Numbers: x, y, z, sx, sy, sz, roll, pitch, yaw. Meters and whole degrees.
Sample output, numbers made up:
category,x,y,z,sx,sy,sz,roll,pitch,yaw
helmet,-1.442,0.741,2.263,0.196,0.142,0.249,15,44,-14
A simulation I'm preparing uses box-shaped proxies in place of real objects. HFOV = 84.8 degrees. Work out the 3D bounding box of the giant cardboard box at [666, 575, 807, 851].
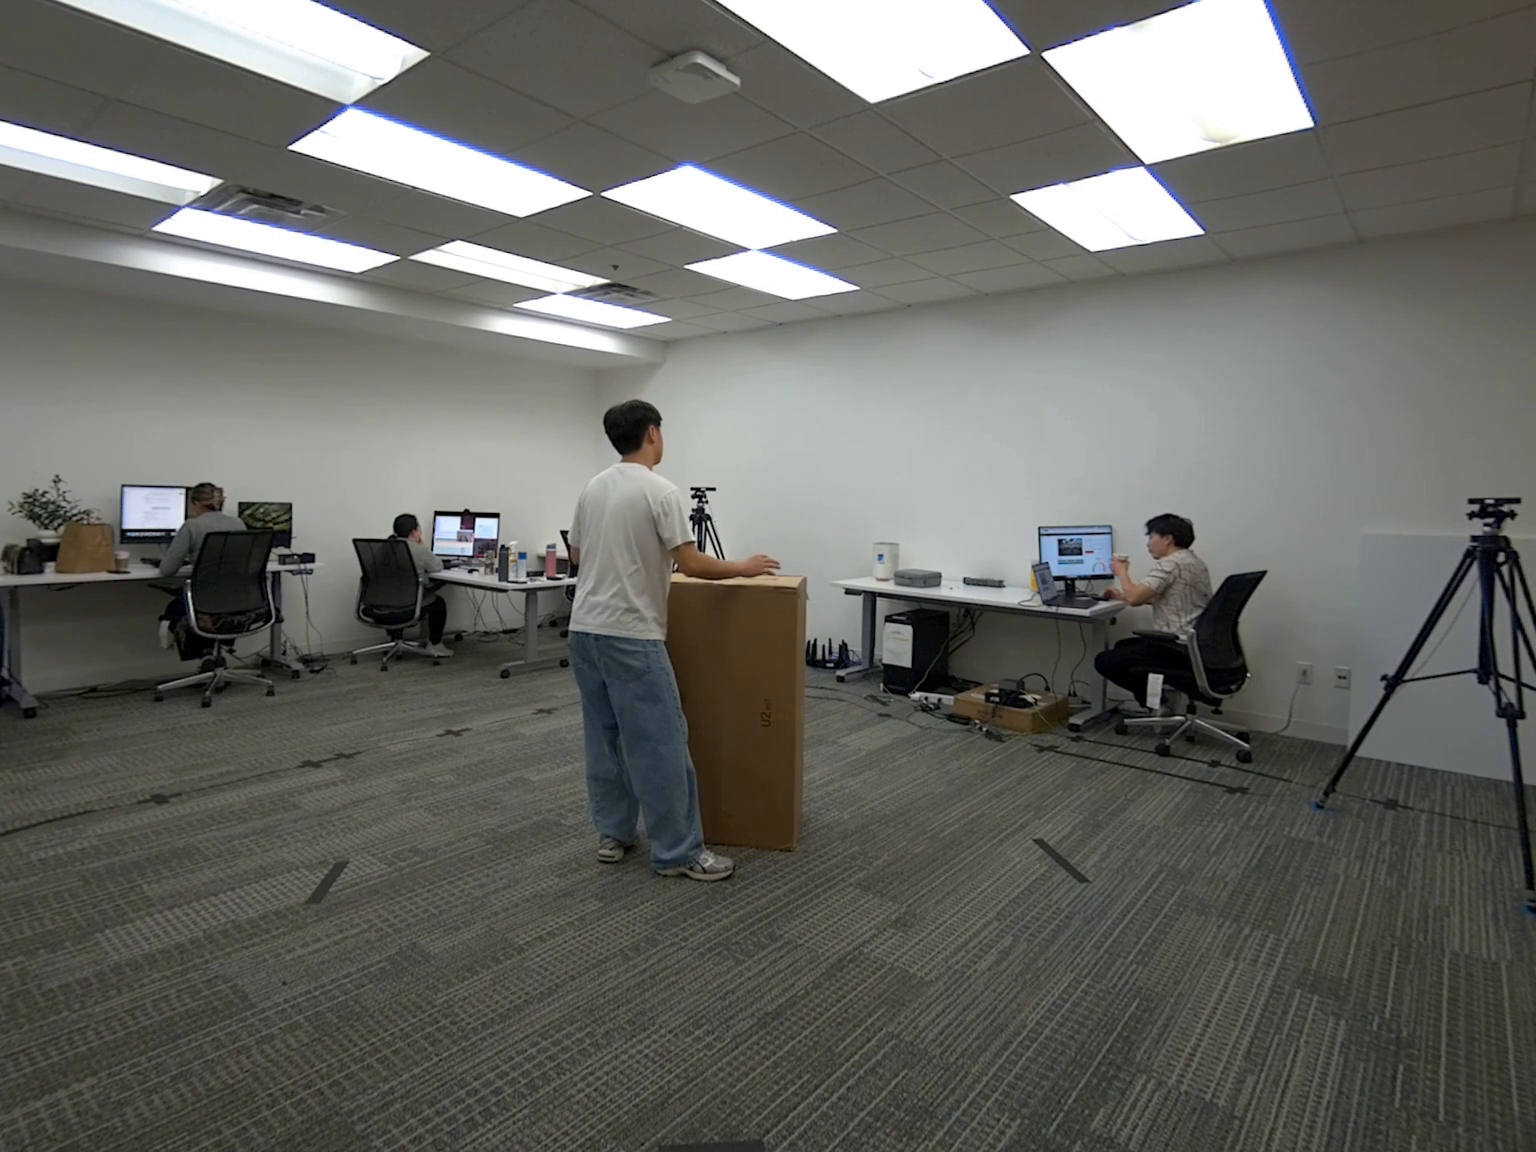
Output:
category,x,y,z,sx,sy,sz,roll,pitch,yaw
giant cardboard box,-0.158,0.516,3.507,0.584,1.023,0.422,1,3,10
